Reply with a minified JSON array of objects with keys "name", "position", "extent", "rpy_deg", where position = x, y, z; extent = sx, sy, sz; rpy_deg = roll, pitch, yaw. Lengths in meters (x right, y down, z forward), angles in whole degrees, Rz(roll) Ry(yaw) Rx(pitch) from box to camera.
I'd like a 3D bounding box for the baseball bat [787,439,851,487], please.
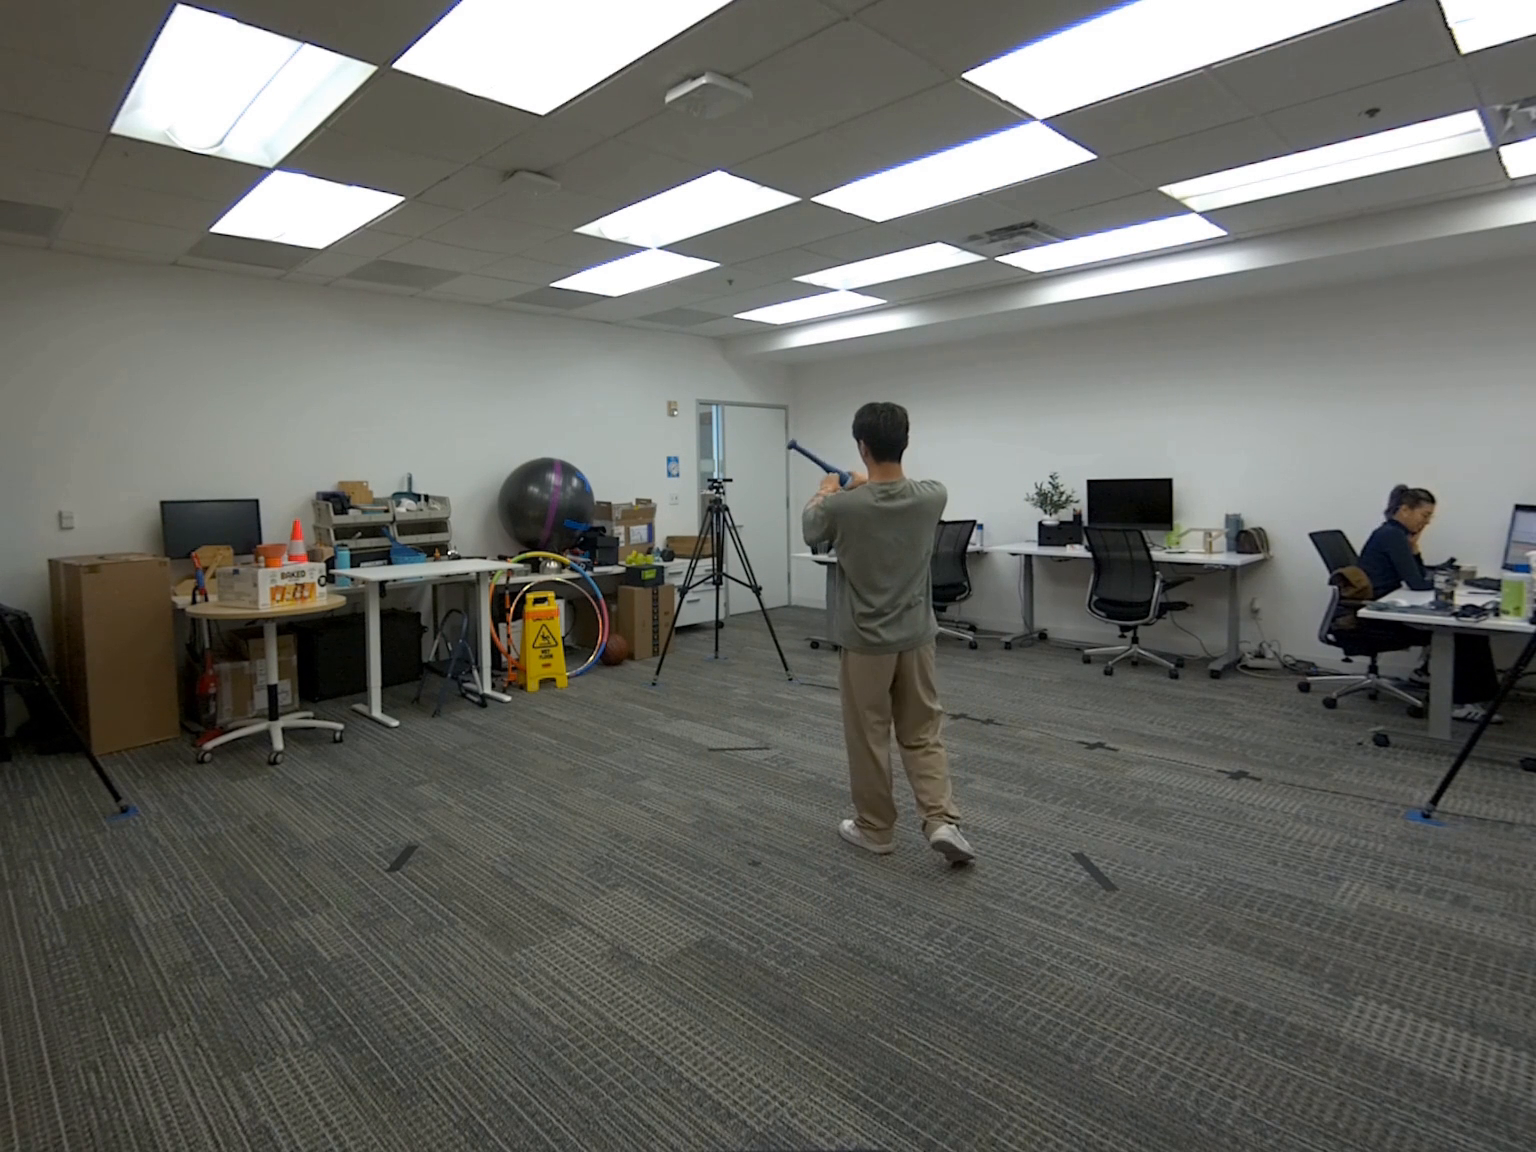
[{"name":"baseball bat","position":[0.315,-0.417,3.627],"extent":[0.539,0.089,0.089],"rpy_deg":[35,1,-5]}]
